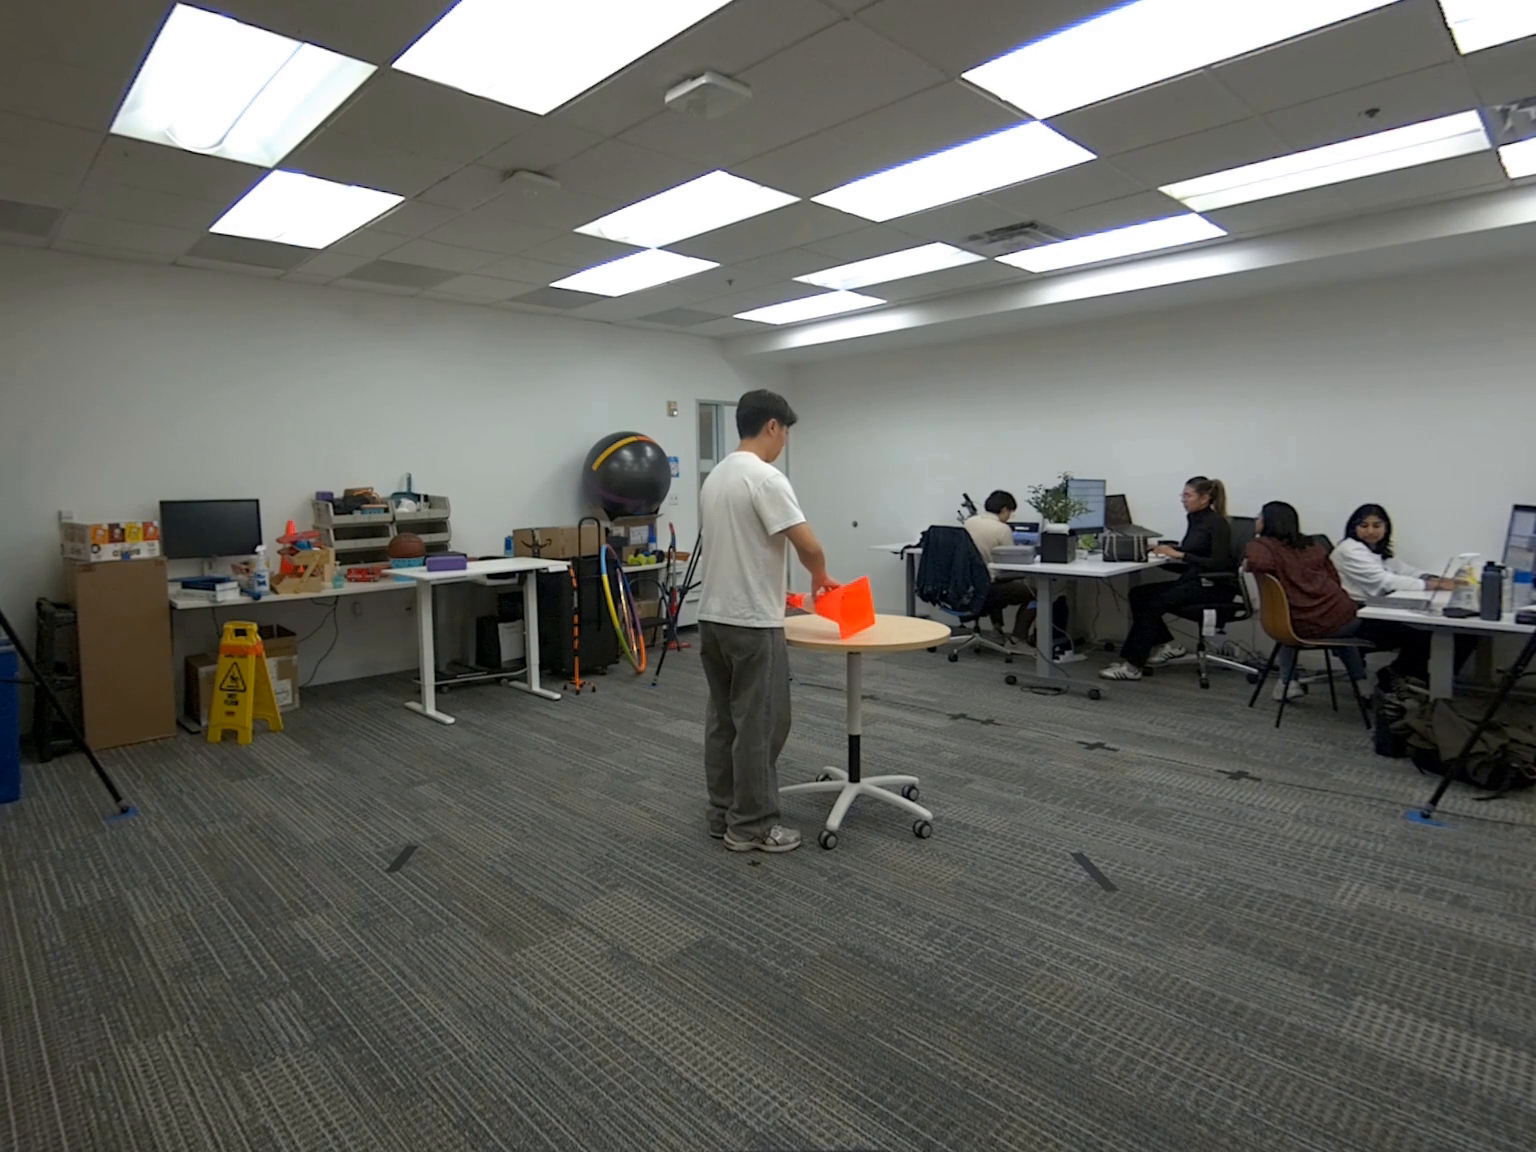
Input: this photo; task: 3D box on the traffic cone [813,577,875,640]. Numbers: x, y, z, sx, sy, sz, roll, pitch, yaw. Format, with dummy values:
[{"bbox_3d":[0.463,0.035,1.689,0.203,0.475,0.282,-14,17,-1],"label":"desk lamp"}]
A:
[{"bbox_3d":[0.201,0.106,3.406,0.199,0.203,0.395,-18,15,-38],"label":"traffic cone"}]
